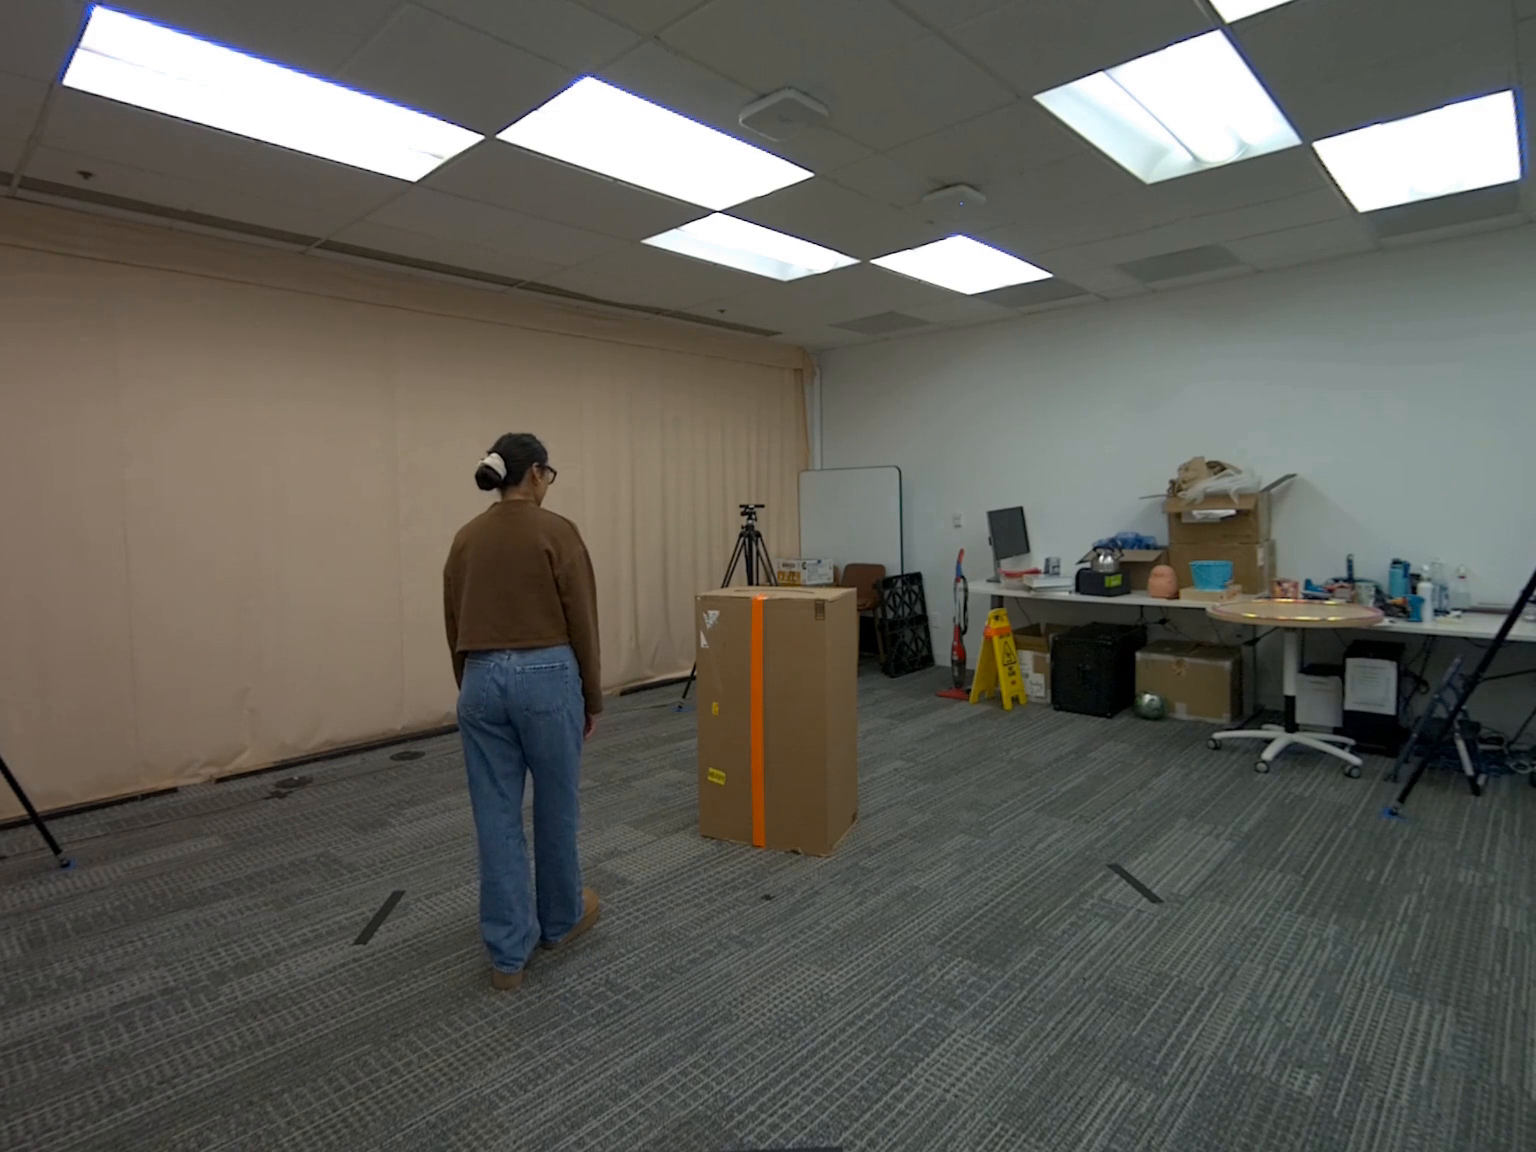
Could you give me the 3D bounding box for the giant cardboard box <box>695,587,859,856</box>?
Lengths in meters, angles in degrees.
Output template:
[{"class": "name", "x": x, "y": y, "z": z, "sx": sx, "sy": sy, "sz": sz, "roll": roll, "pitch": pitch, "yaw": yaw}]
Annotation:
[{"class": "giant cardboard box", "x": 0.050, "y": 0.574, "z": 3.592, "sx": 0.592, "sy": 1.024, "sz": 0.416, "roll": 1, "pitch": 3, "yaw": 25}]
